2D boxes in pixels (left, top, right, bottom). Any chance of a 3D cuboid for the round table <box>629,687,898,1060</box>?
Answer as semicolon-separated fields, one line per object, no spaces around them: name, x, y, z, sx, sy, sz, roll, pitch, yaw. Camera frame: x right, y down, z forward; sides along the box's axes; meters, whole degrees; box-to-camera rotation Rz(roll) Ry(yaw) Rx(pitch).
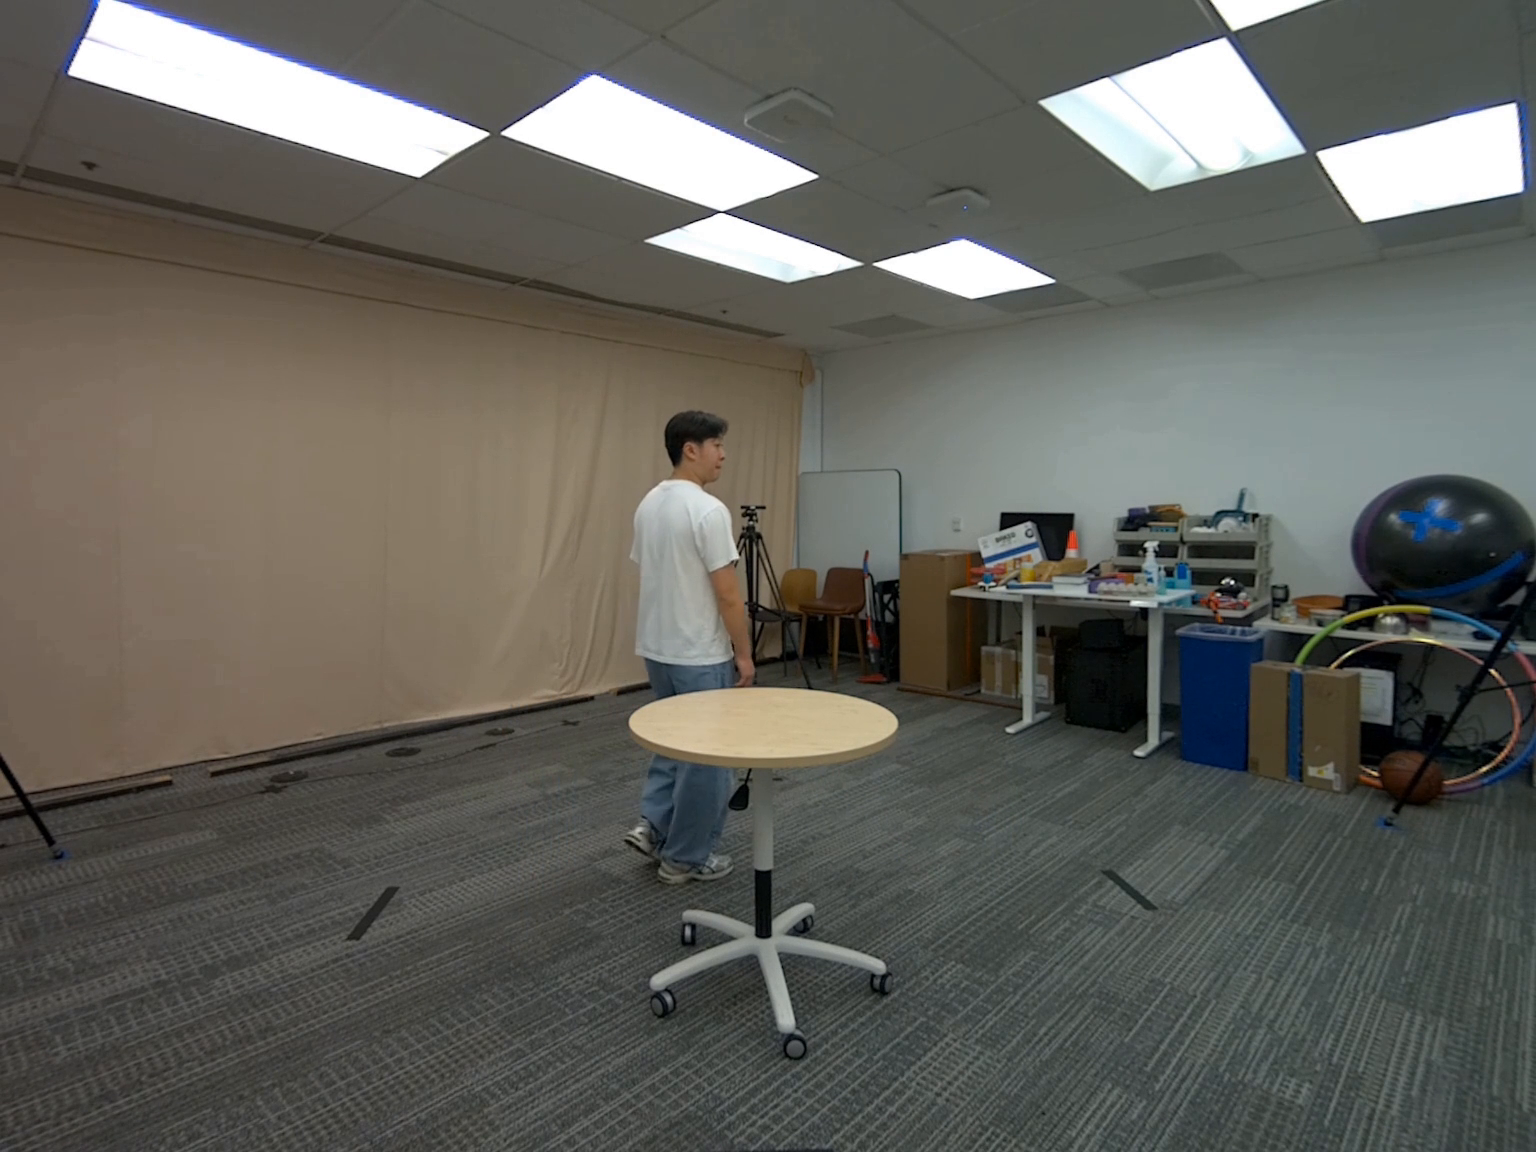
round table;-0.019;0.798;2.440;0.784;0.785;0.788;0;4;-2
